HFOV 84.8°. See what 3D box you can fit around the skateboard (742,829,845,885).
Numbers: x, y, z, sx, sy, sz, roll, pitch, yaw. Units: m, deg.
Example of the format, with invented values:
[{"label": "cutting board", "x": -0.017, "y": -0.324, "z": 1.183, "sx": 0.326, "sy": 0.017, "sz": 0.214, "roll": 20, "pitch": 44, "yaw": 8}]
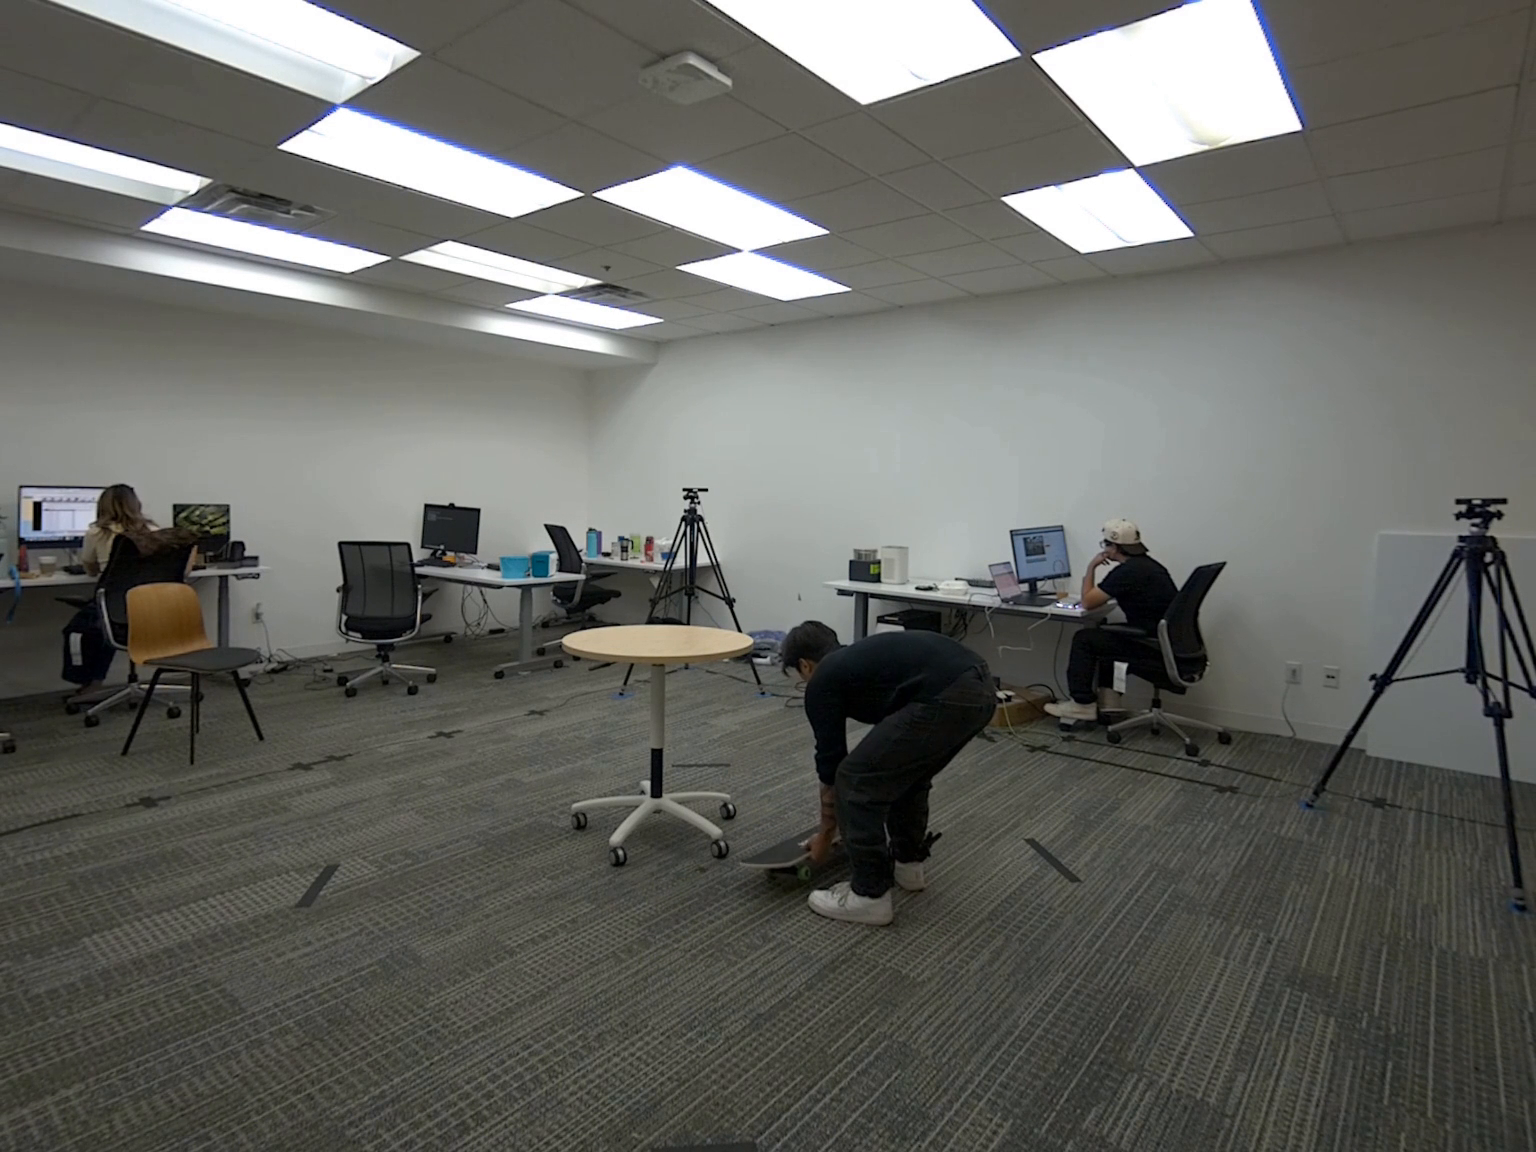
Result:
[{"label": "skateboard", "x": 0.179, "y": 0.996, "z": 3.166, "sx": 0.198, "sy": 0.111, "sz": 0.762, "roll": -10, "pitch": -3, "yaw": 41}]
